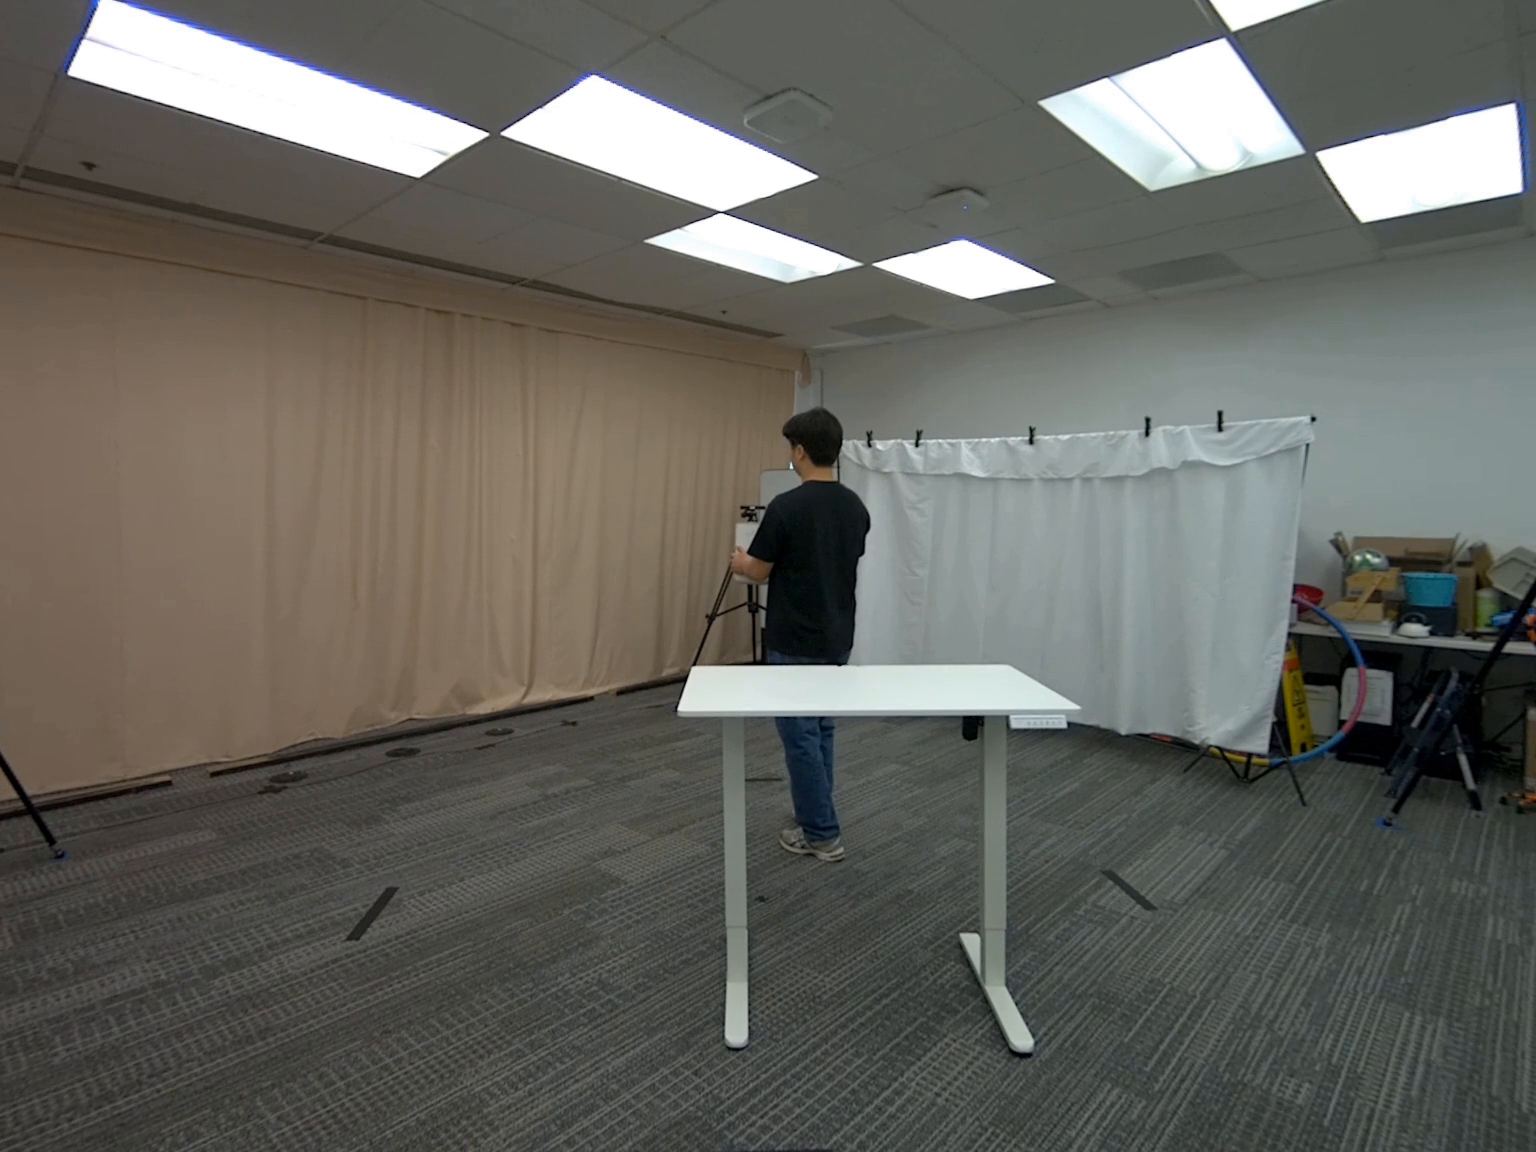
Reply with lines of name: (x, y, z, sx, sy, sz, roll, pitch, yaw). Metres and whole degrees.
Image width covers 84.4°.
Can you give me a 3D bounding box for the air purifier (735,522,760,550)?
air purifier: (-0.049, -0.099, 3.664, 0.173, 0.265, 0.170, 1, 2, 9)
